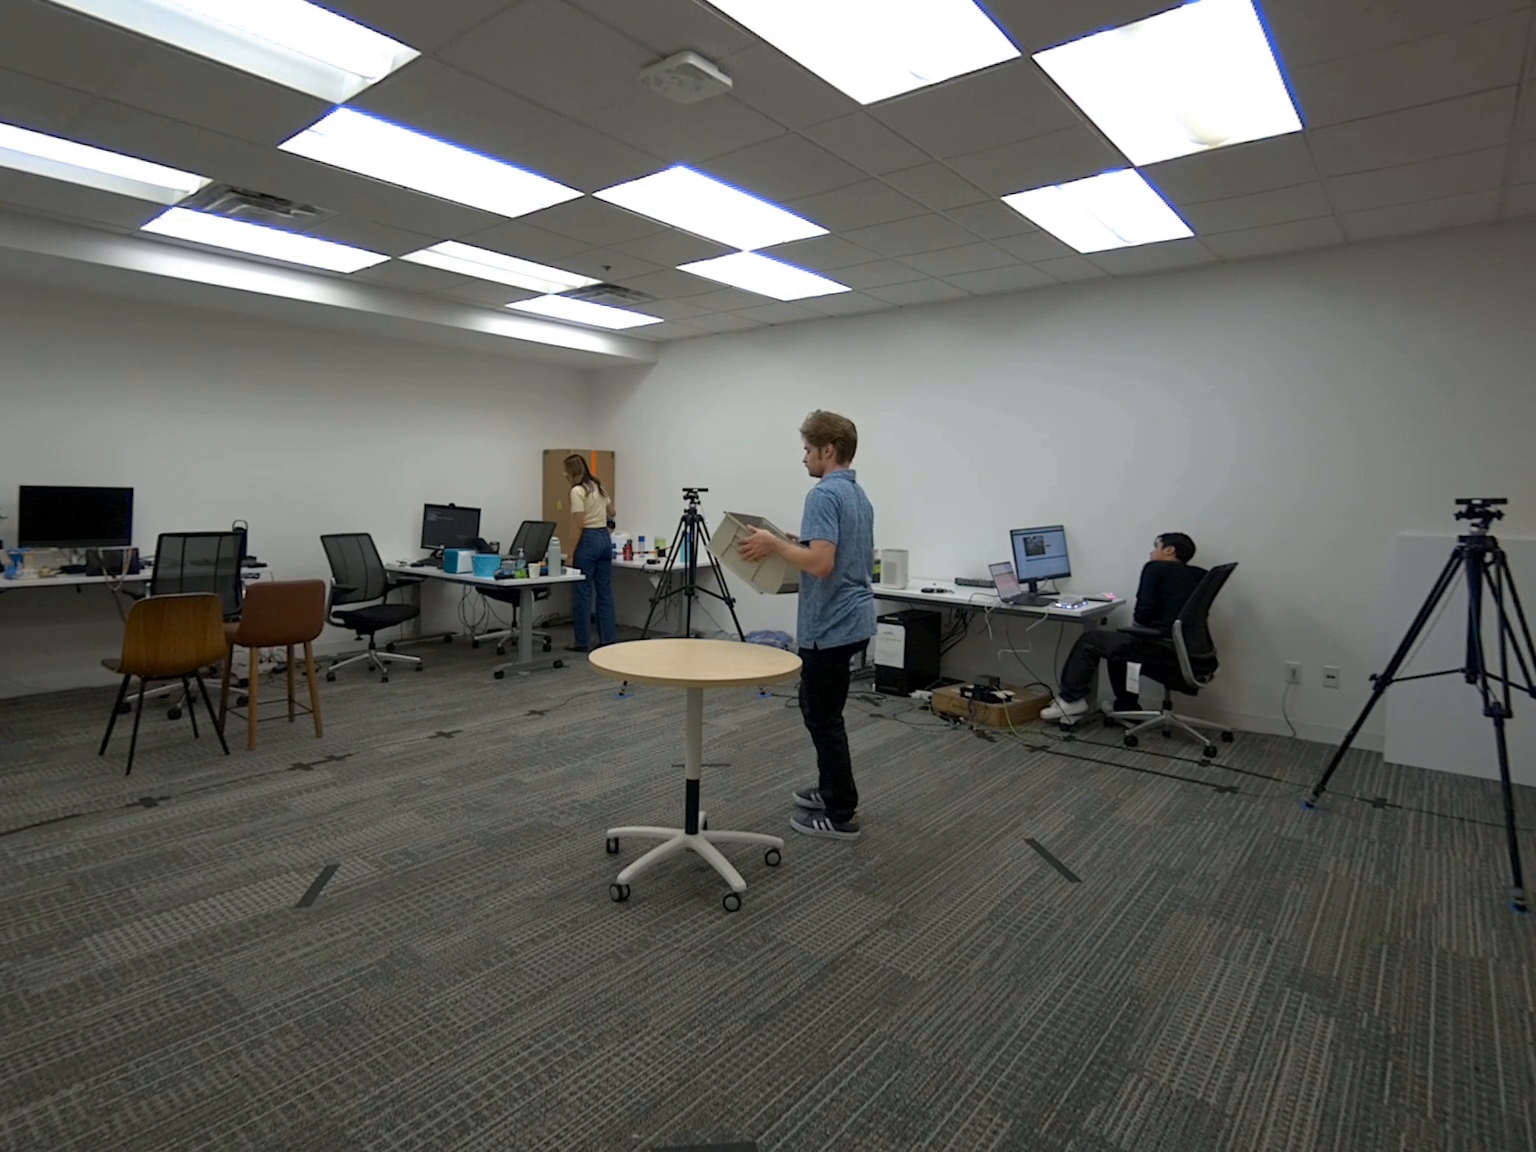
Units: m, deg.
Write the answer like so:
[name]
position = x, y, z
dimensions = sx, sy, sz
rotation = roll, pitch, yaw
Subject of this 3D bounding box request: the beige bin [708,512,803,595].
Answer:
[beige bin]
position = -0.021, -0.088, 3.607
dimensions = 0.388, 0.188, 0.412
rotation = 36, 13, 19
